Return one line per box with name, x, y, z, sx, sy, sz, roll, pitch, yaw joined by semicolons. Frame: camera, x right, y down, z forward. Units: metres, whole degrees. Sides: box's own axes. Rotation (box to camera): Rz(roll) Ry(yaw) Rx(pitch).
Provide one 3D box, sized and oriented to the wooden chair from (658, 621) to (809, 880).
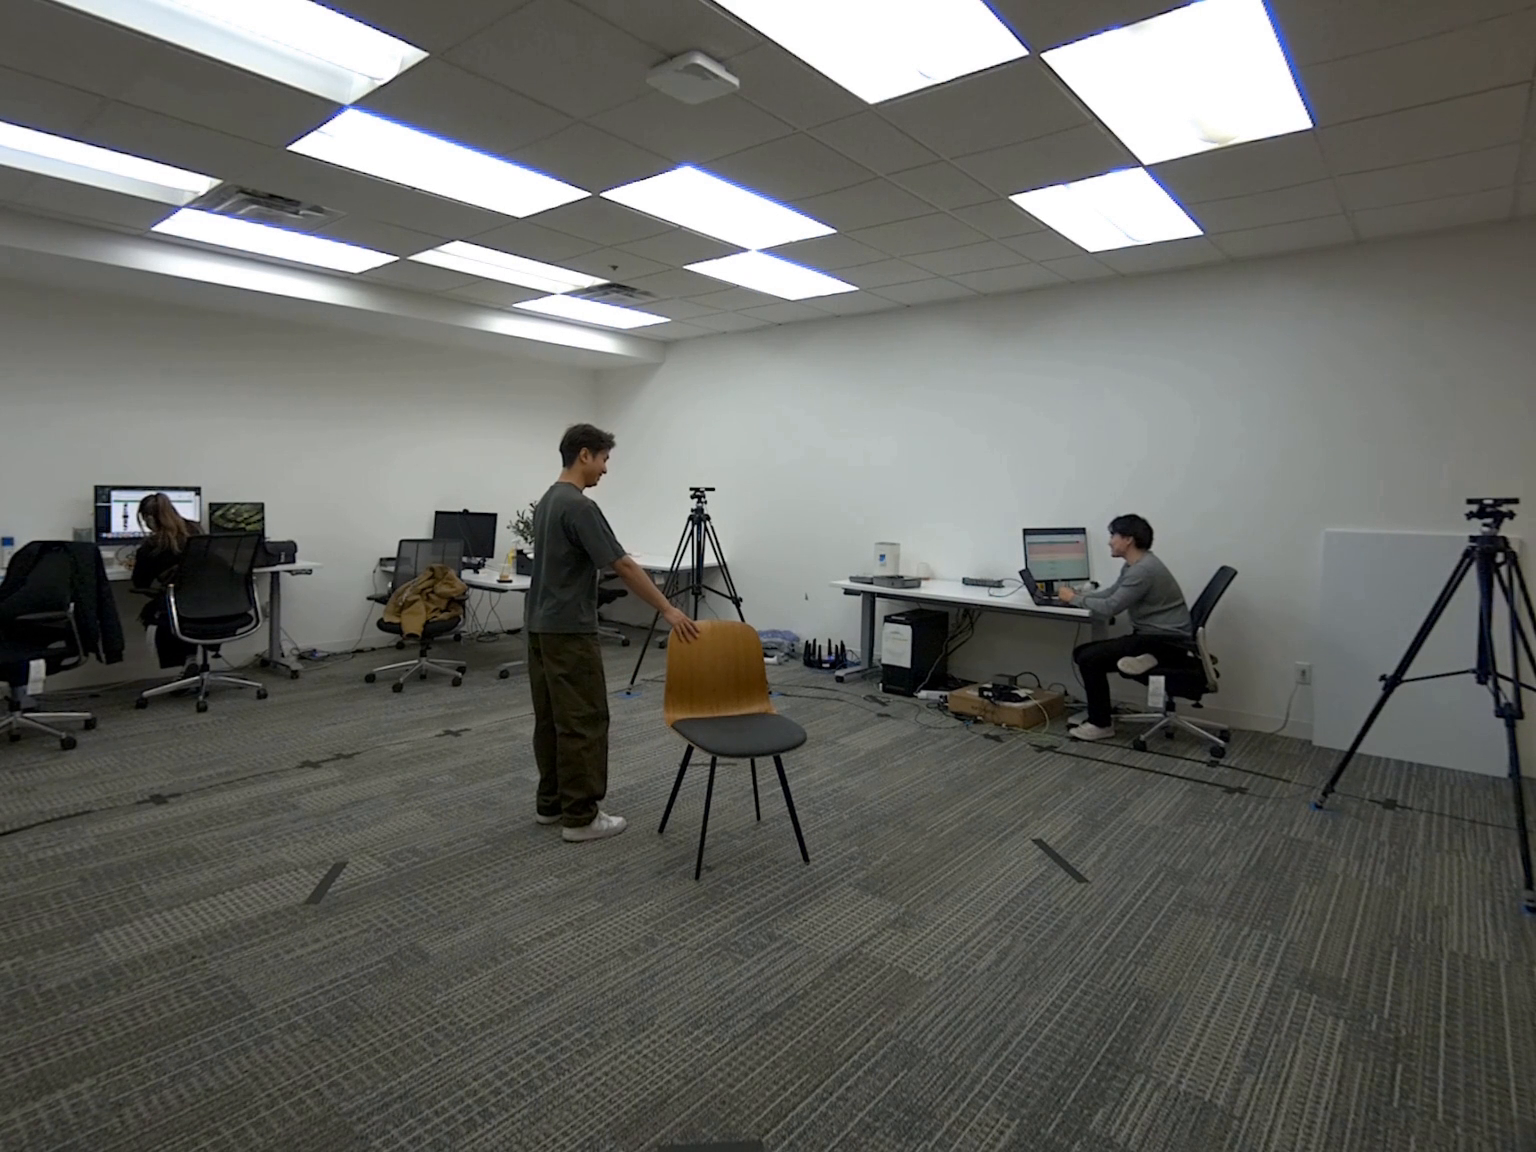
wooden chair;-0.142;0.626;3.266;0.467;0.879;0.534;0;-1;-23
